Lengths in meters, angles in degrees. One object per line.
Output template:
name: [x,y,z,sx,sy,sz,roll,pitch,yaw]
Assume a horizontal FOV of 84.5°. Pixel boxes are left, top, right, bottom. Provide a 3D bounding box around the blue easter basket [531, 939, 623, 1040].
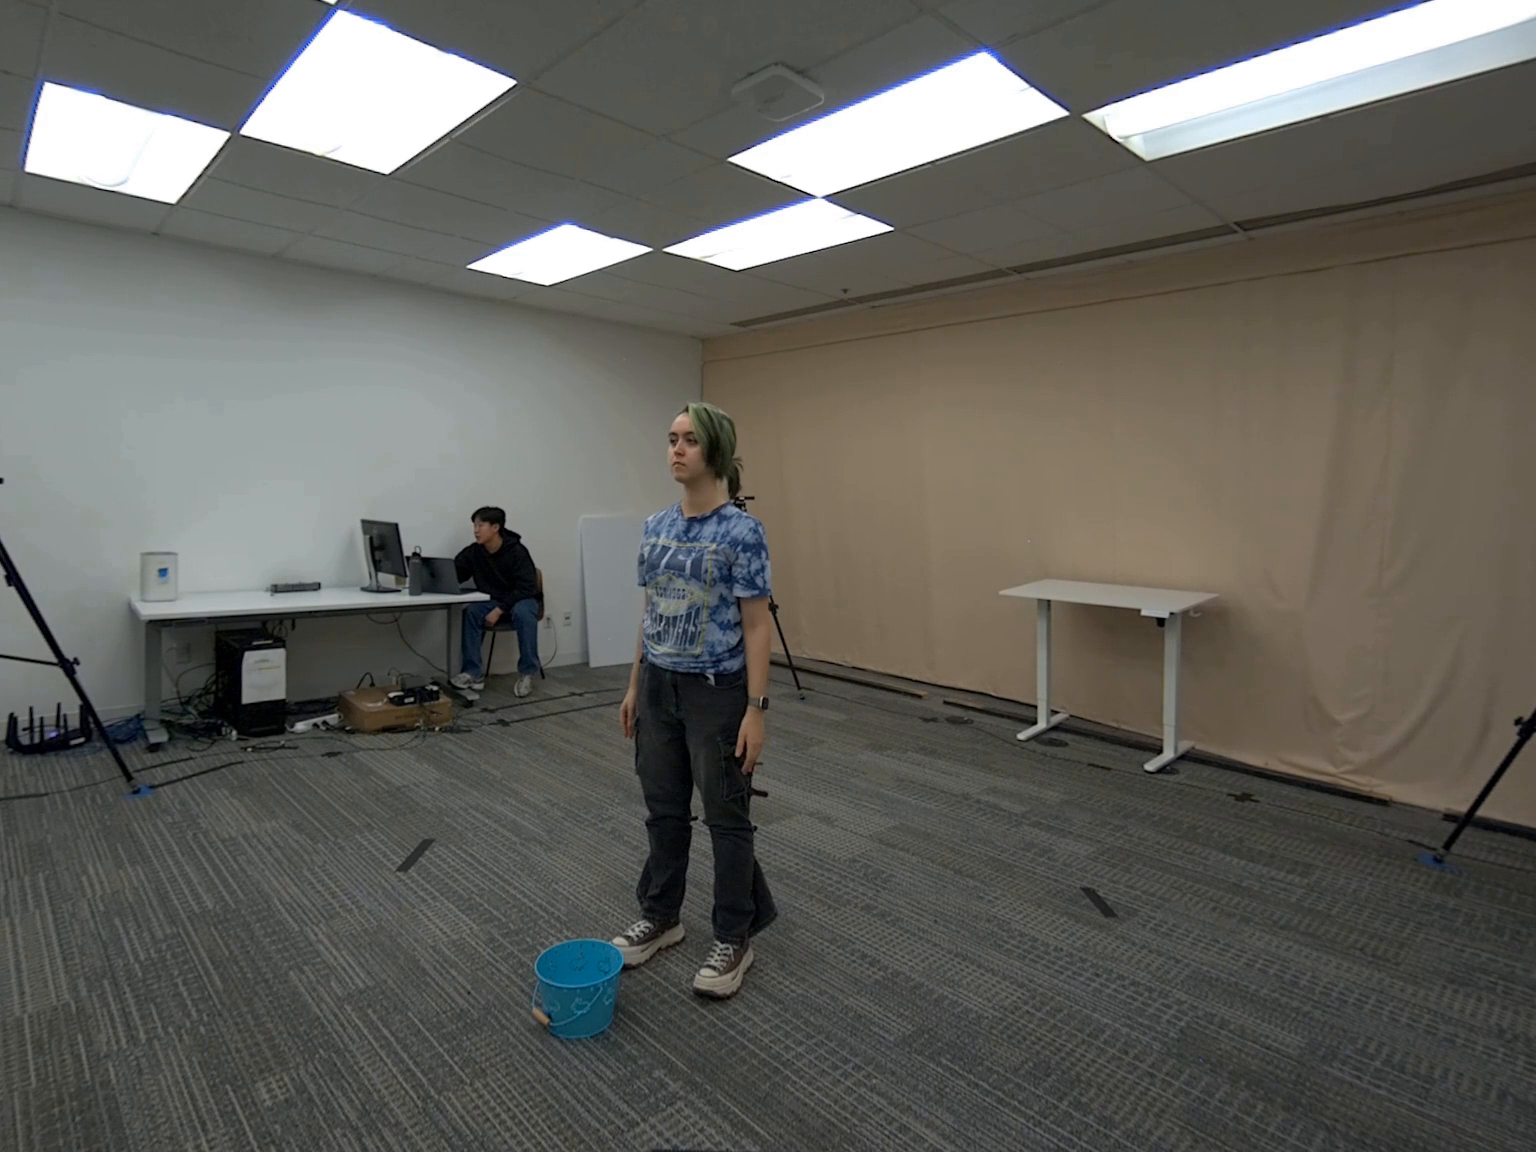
blue easter basket: [-0.513,1.100,2.230,0.243,0.155,0.244,1,4,-1]
